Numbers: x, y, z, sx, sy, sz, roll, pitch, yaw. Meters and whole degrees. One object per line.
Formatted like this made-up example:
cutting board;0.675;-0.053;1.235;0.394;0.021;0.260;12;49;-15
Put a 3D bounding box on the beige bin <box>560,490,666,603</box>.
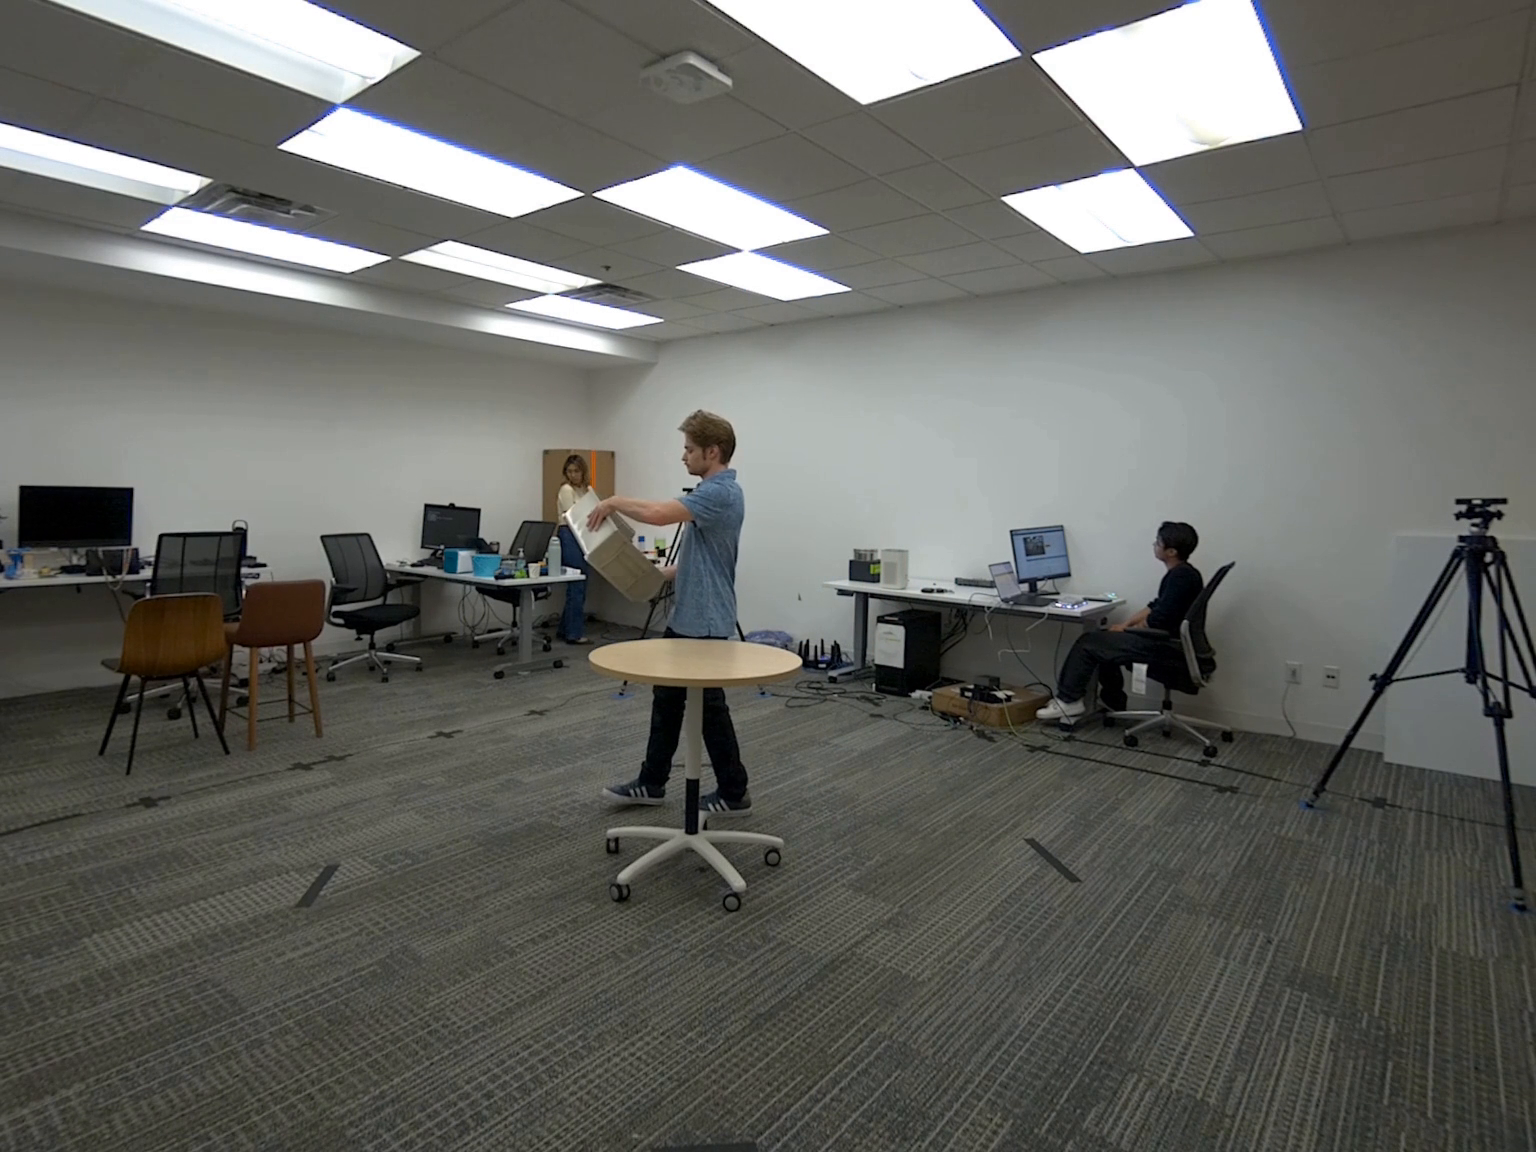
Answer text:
beige bin;-0.680;-0.129;3.669;0.362;0.189;0.440;47;2;-39
